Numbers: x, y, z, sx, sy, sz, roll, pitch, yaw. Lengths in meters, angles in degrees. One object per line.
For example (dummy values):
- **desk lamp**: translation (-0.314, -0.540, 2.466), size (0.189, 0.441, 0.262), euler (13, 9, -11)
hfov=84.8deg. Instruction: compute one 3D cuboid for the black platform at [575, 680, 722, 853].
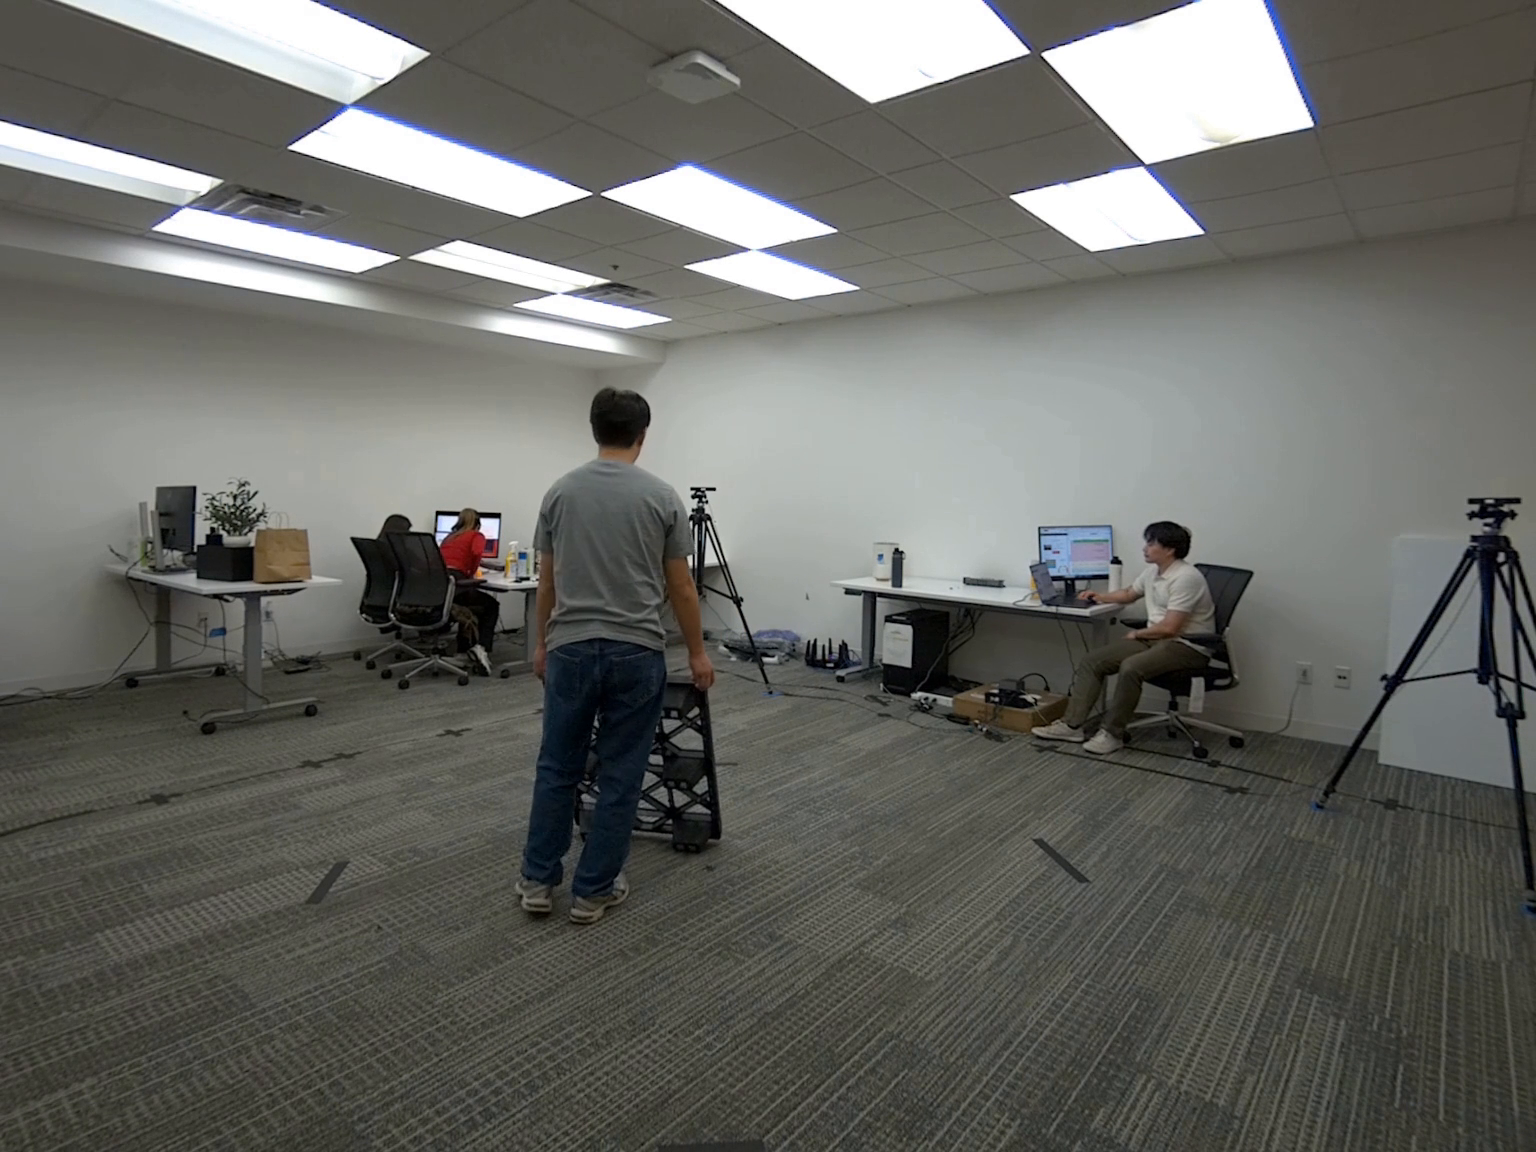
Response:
- **black platform**: translation (-0.504, 0.708, 3.146), size (0.612, 0.784, 0.145), euler (3, 32, 10)
